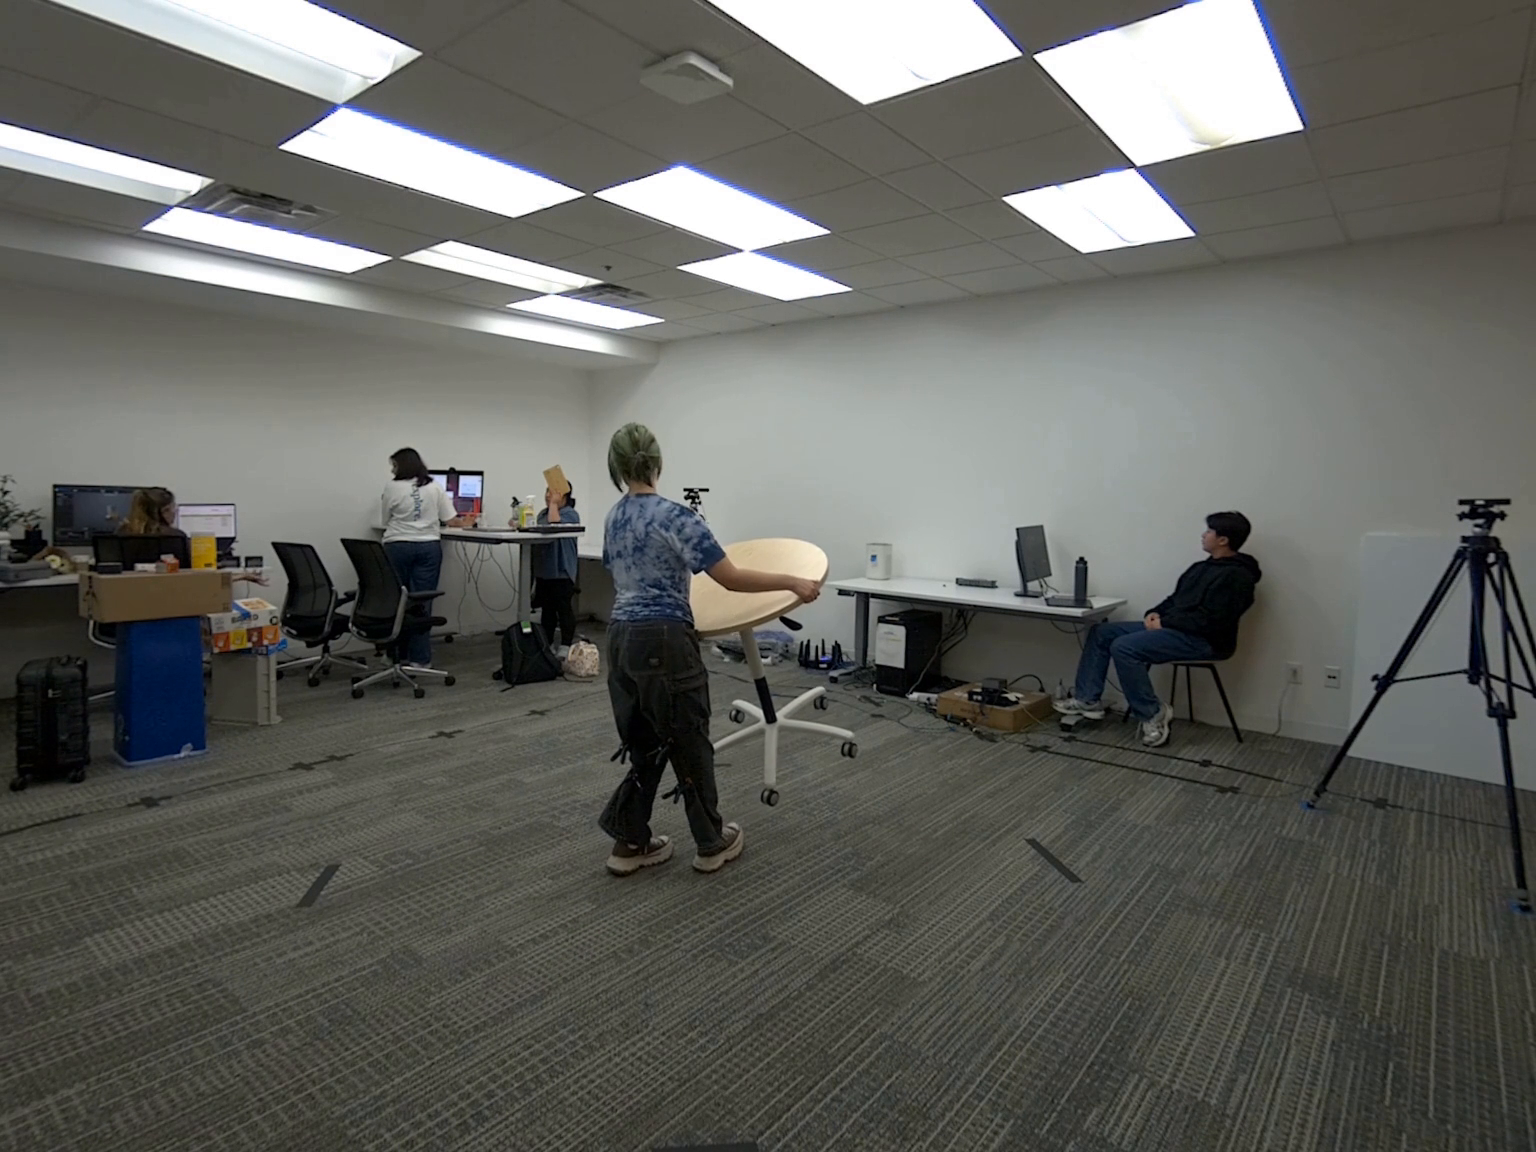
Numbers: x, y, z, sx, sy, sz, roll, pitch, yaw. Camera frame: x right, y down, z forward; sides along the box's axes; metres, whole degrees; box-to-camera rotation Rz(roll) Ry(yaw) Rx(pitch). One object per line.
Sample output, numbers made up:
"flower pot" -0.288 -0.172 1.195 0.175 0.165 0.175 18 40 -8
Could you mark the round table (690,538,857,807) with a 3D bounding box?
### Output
"round table" -0.053 0.375 3.480 0.767 0.776 0.780 -14 21 4
